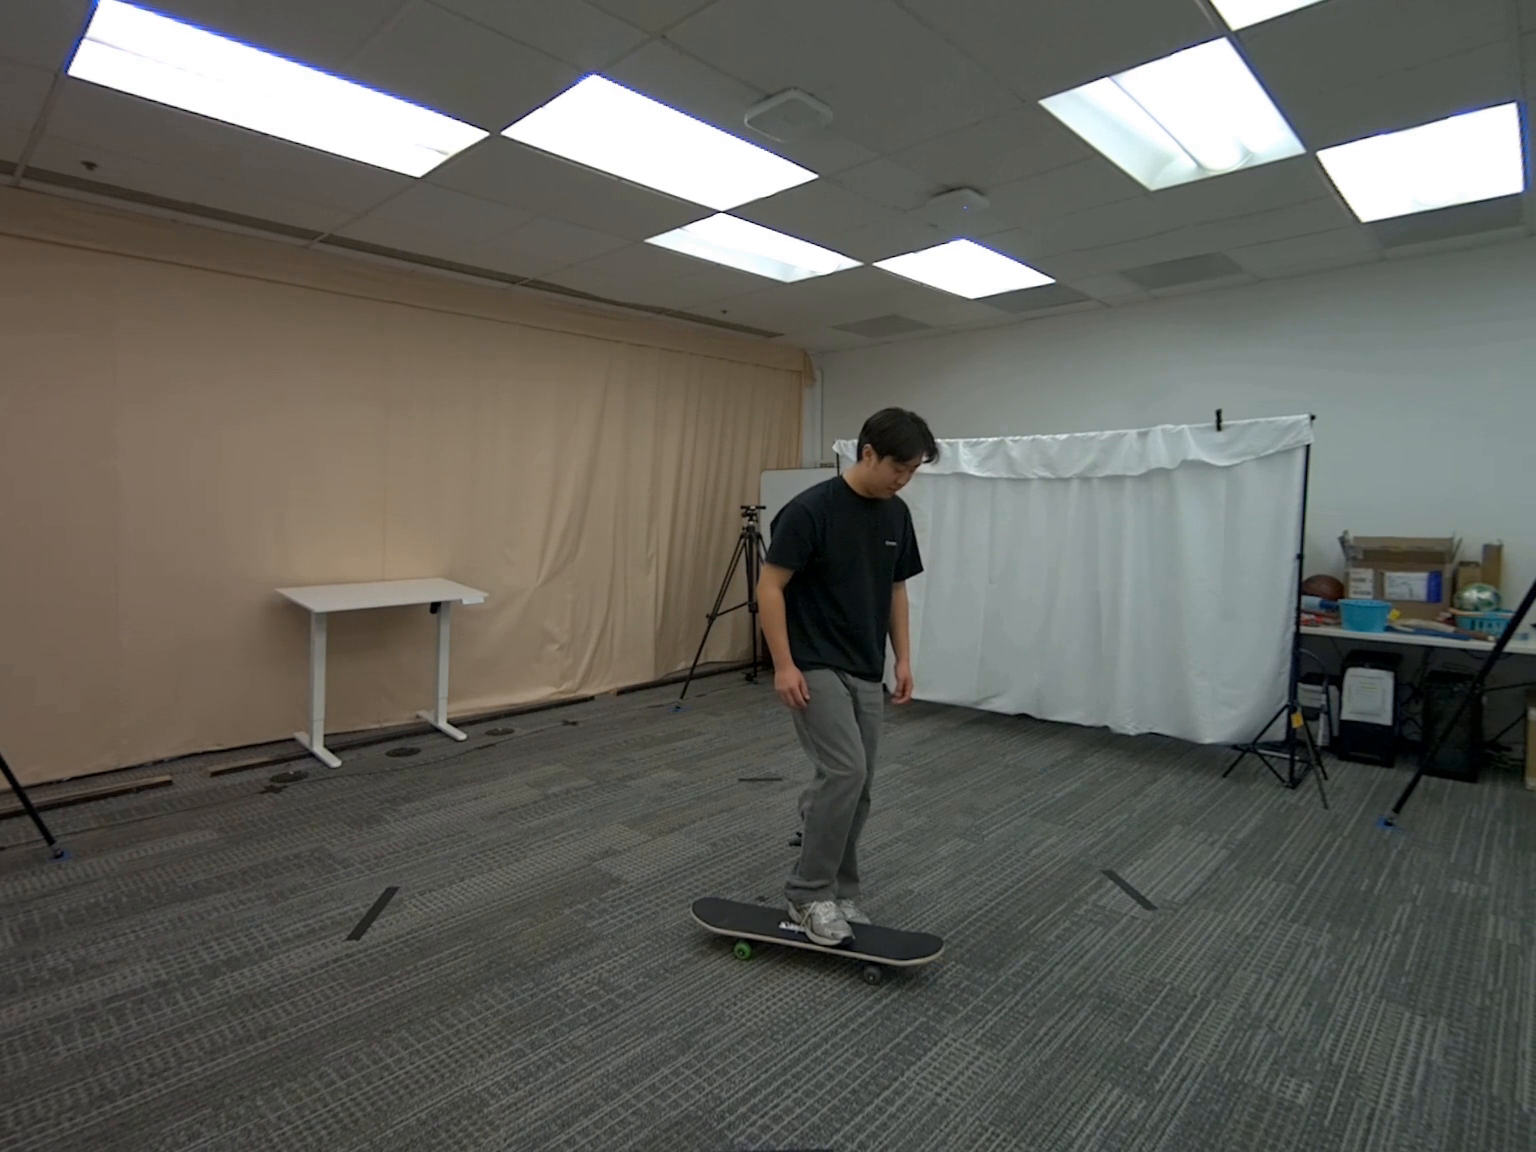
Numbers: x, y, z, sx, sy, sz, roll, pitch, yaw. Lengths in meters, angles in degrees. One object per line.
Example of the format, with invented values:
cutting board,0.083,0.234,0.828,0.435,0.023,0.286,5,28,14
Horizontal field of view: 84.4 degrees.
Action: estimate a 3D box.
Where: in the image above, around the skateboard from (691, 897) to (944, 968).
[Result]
skateboard,0.149,1.122,2.584,0.800,0.110,0.190,1,4,18
